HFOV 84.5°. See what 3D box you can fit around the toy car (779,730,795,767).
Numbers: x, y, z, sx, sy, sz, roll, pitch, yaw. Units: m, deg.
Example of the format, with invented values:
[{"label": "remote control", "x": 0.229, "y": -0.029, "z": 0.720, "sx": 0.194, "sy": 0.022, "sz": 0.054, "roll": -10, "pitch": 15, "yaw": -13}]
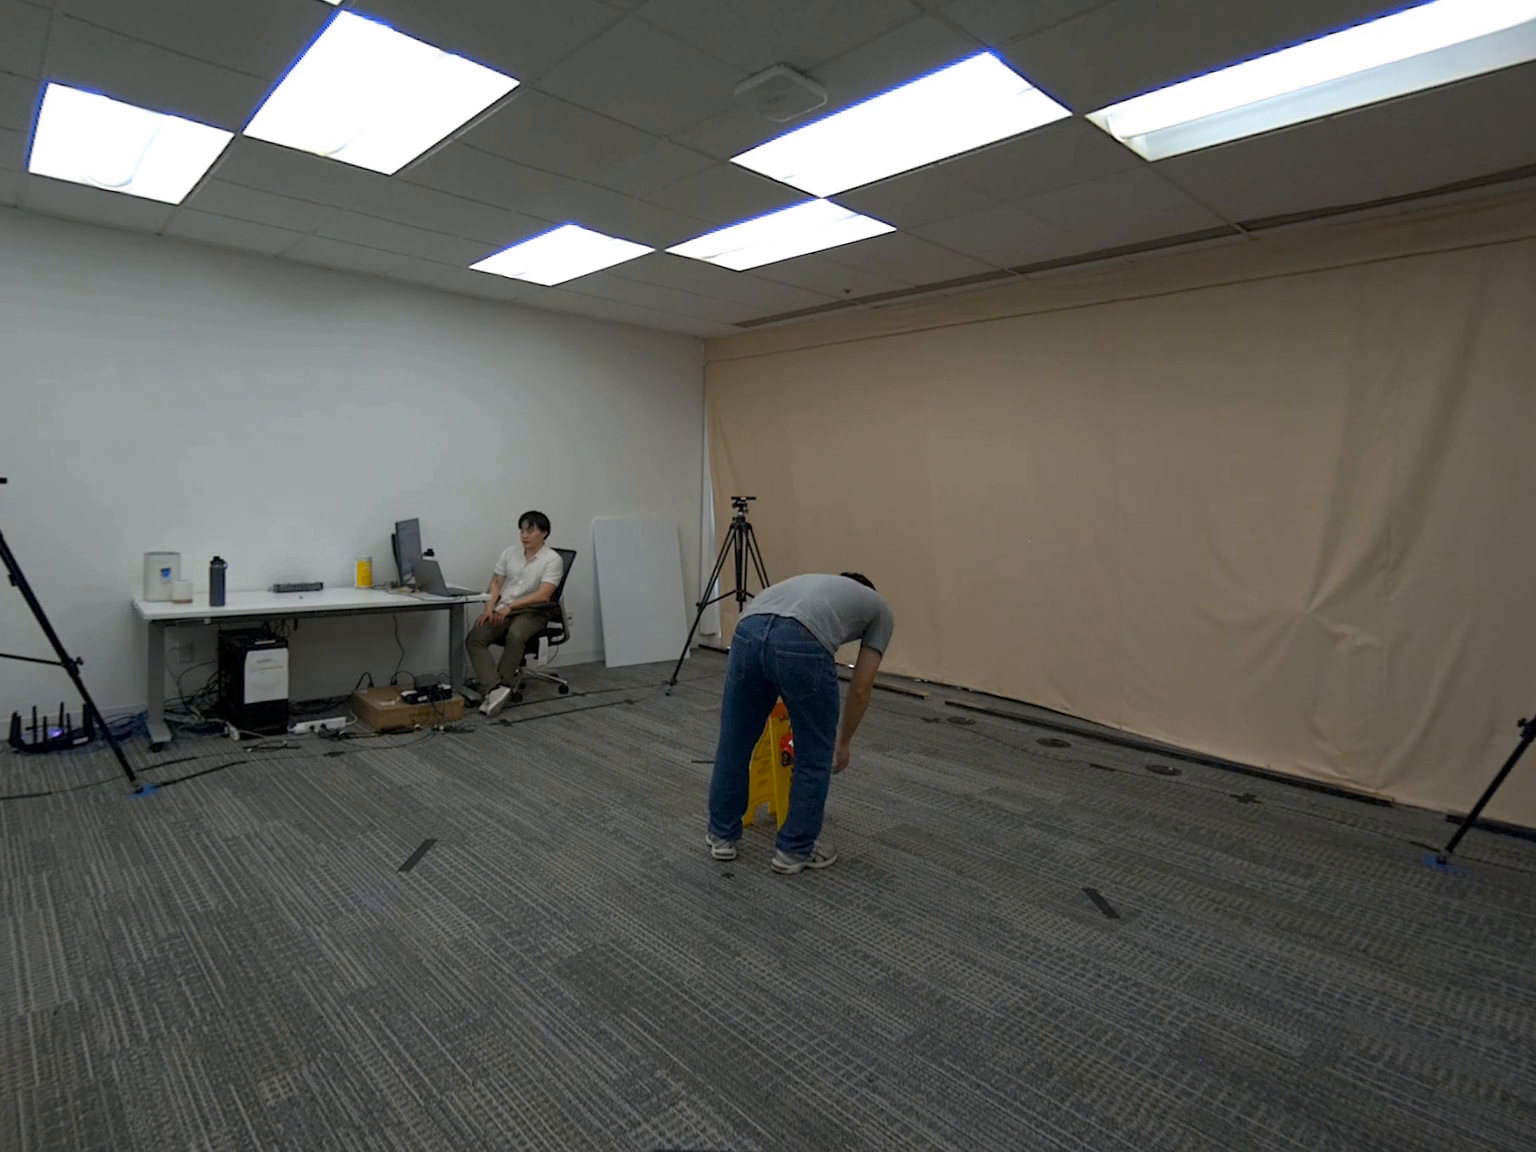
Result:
[{"label": "toy car", "x": 0.121, "y": 0.769, "z": 3.486, "sx": 0.128, "sy": 0.258, "sz": 0.083, "roll": -17, "pitch": -19, "yaw": -50}]
